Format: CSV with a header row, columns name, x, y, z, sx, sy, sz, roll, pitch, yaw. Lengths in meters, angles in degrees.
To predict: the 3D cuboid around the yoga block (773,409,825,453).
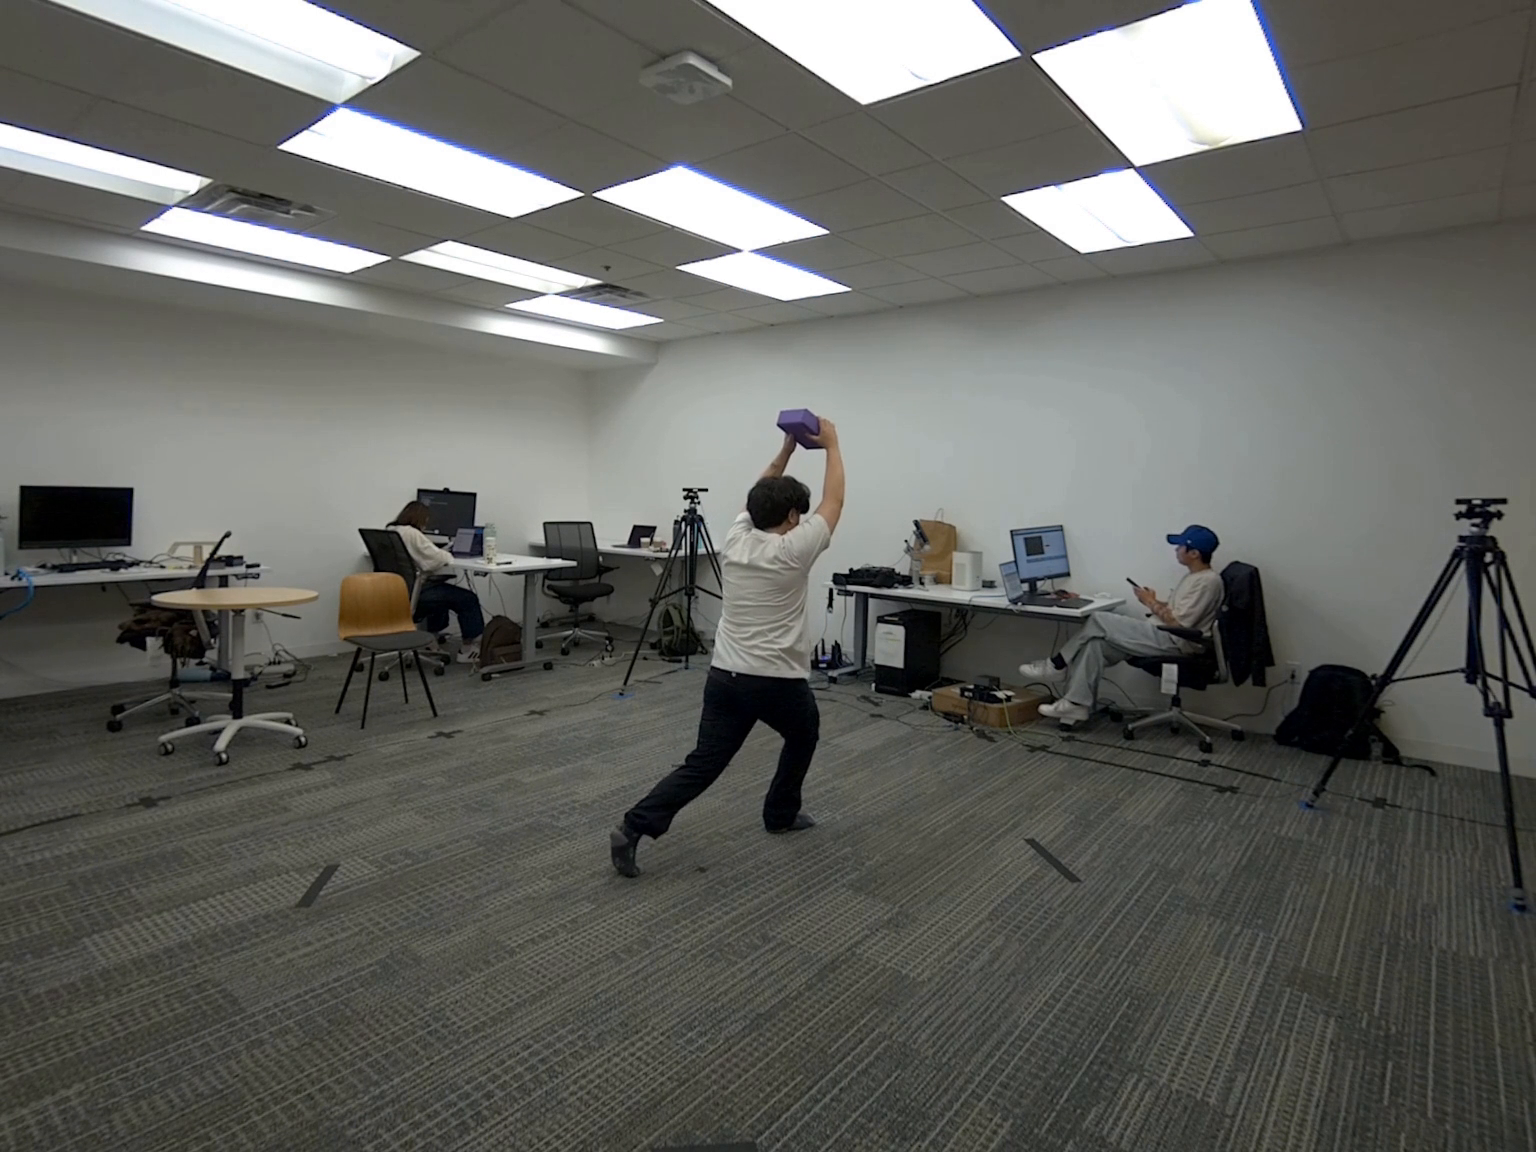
name,x,y,z,sx,sy,sz,roll,pitch,yaw
yoga block,0.156,-0.614,3.560,0.154,0.077,0.220,5,-18,43
